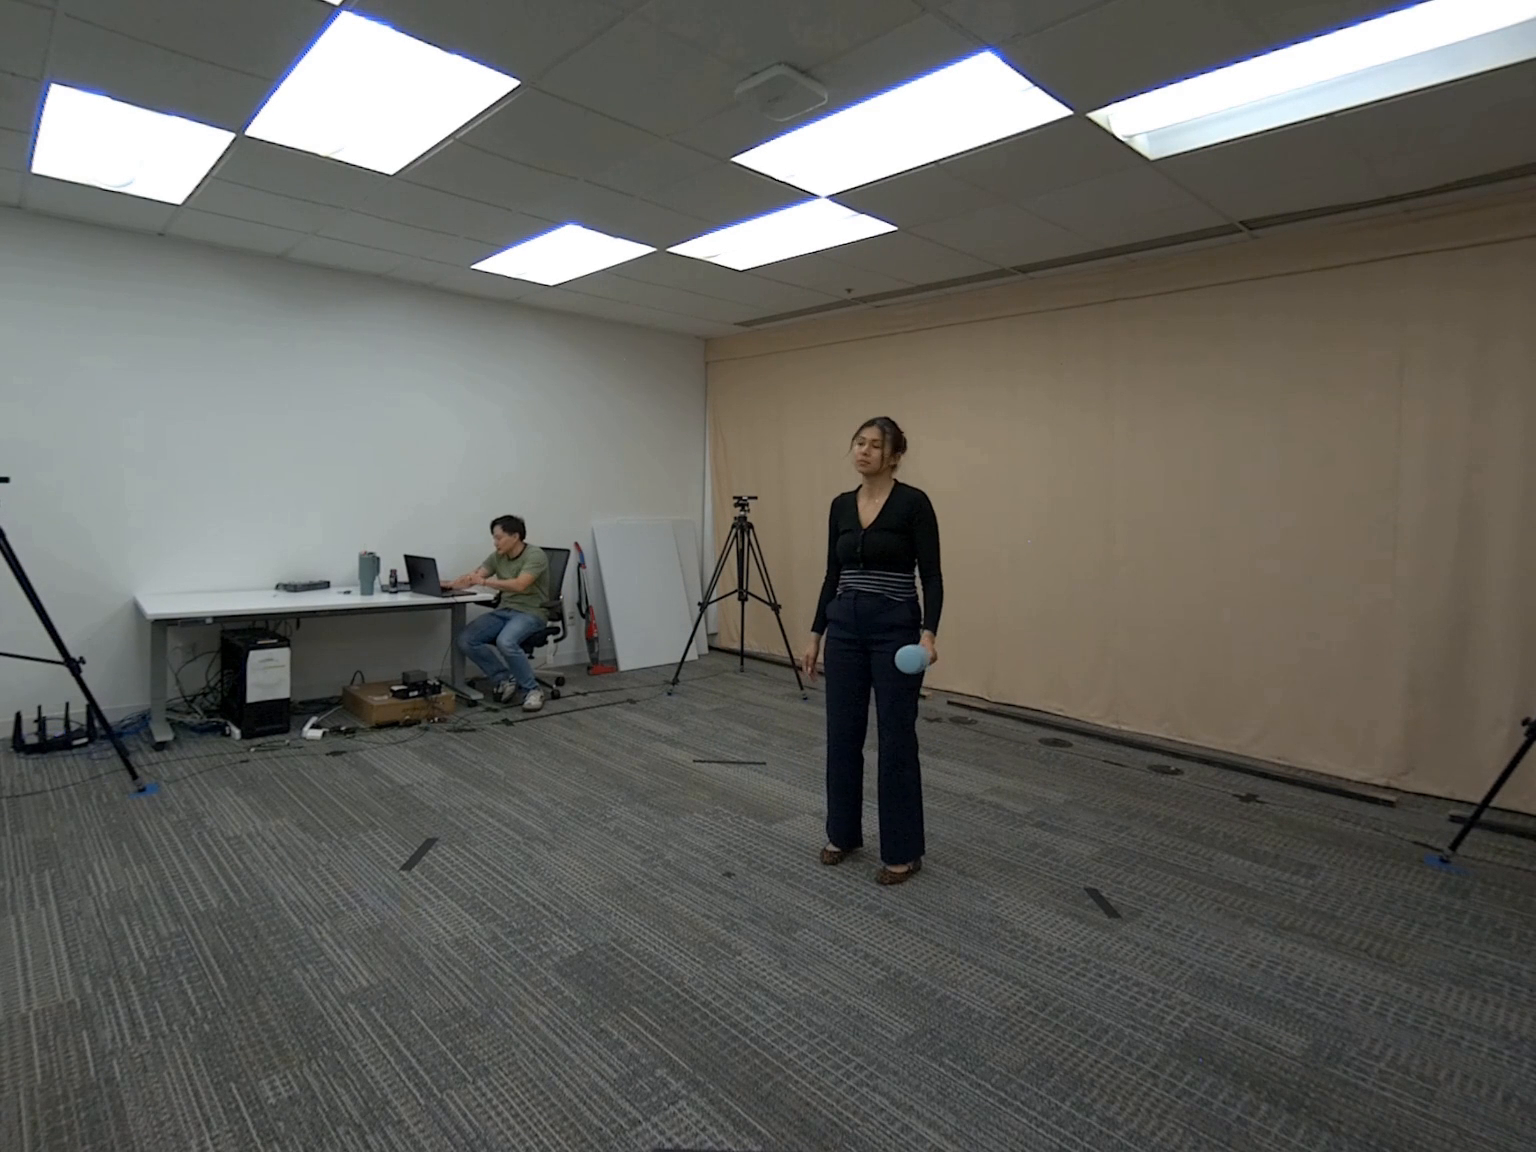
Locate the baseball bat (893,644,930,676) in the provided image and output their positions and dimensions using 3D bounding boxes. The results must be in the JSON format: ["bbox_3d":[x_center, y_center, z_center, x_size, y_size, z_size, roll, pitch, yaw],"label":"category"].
[{"bbox_3d":[0.489,0.271,2.782,0.090,0.089,0.534,3,-3,15],"label":"baseball bat"}]
